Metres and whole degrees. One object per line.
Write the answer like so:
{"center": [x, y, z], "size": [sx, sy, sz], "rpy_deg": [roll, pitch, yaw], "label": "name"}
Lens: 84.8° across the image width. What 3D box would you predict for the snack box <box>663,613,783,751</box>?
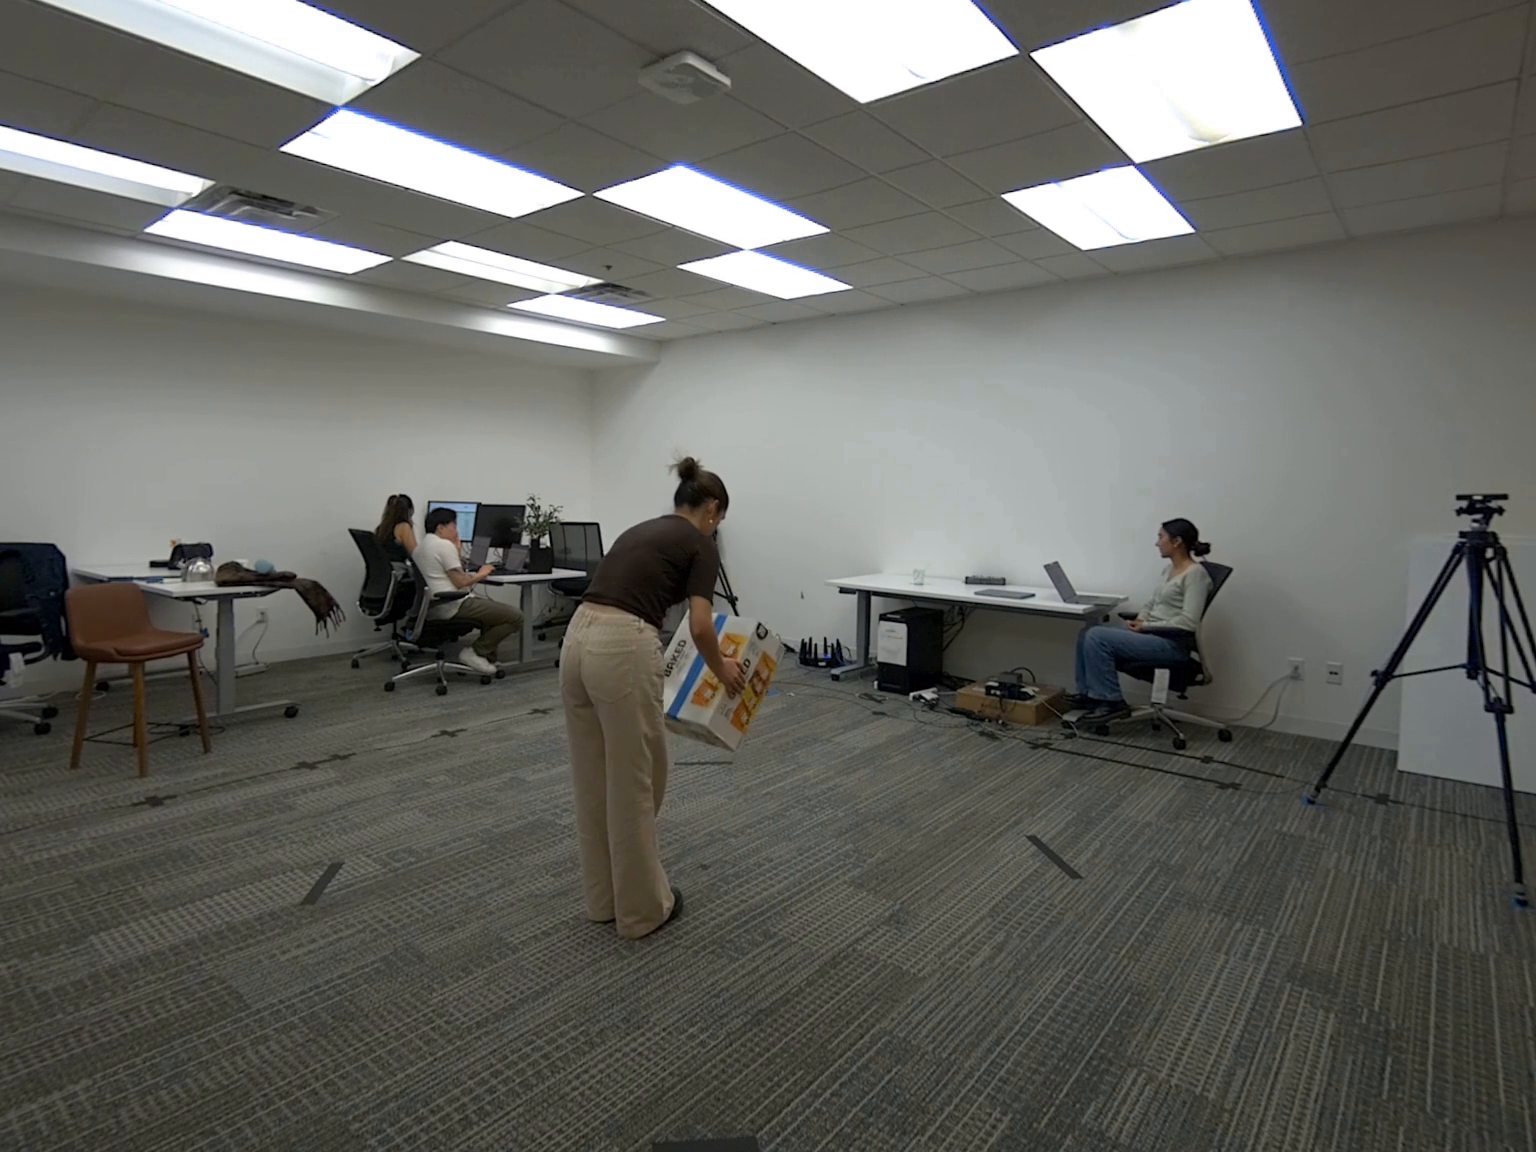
{"center": [-0.206, 0.362, 2.982], "size": [0.352, 0.408, 0.197], "rpy_deg": [6, -30, 41], "label": "snack box"}
